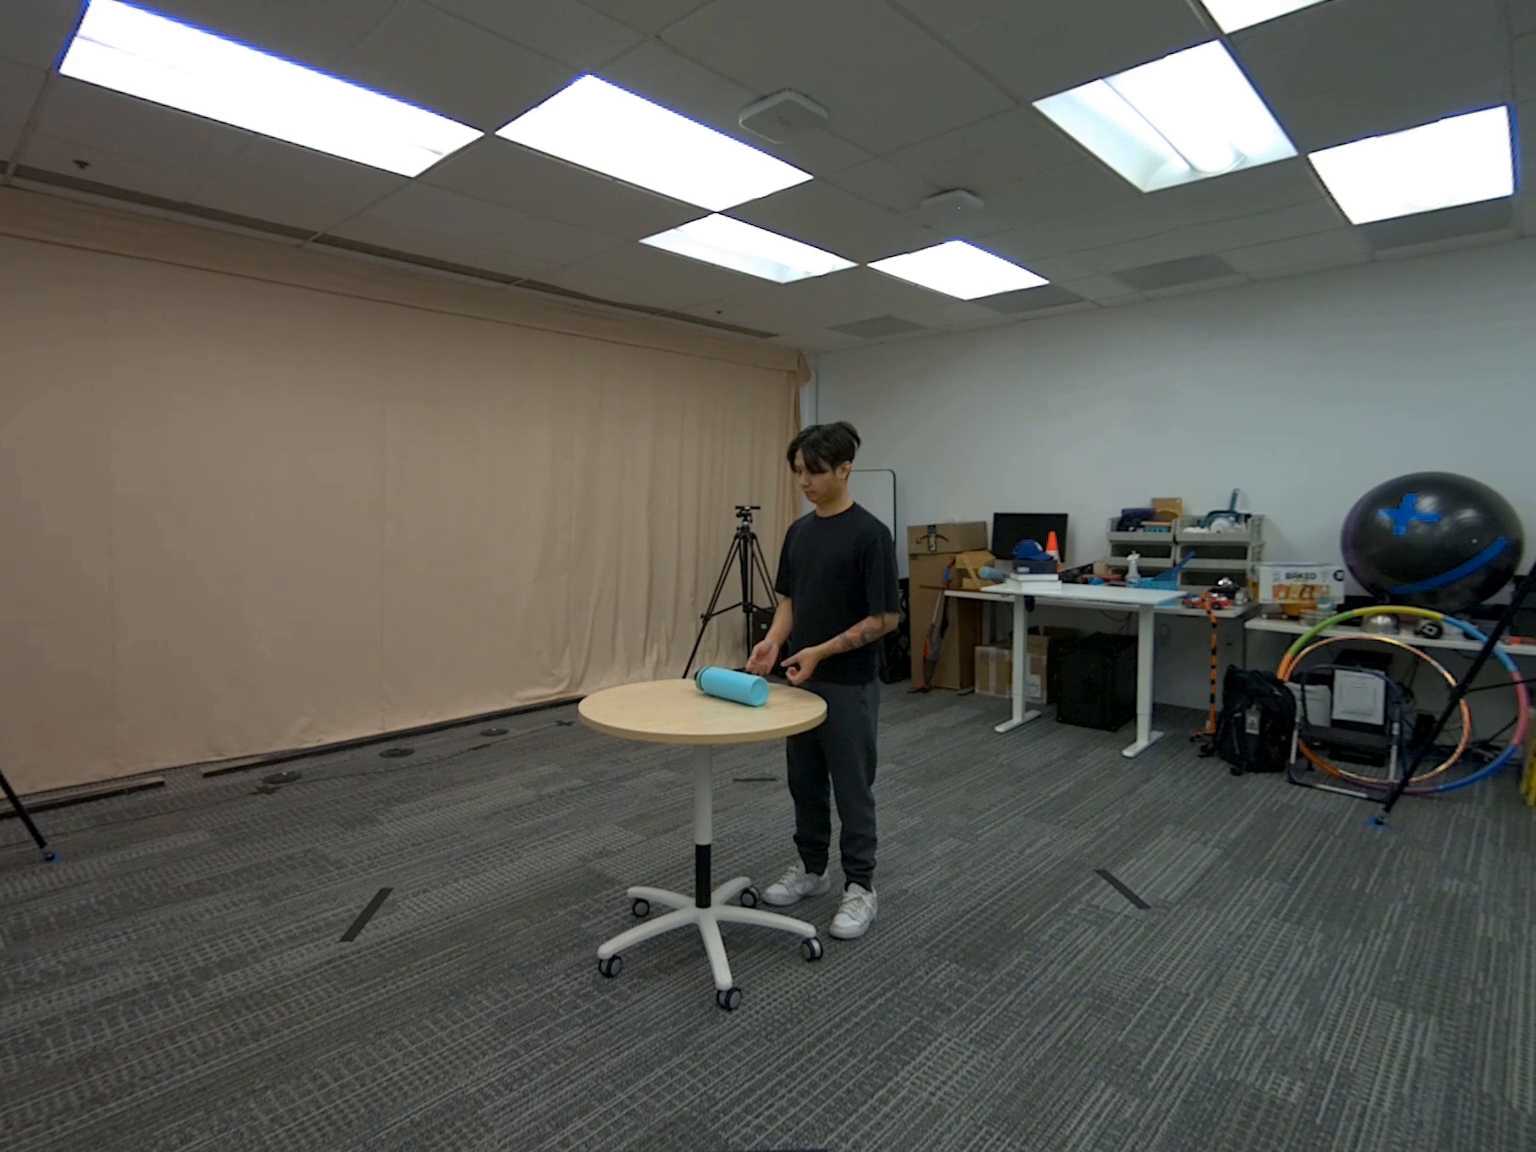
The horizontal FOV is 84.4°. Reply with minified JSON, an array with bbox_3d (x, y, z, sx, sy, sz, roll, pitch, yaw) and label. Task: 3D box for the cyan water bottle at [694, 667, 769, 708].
[{"bbox_3d":[-0.125,0.345,2.660,0.089,0.092,0.293,-3,5,-43],"label":"cyan water bottle"}]
